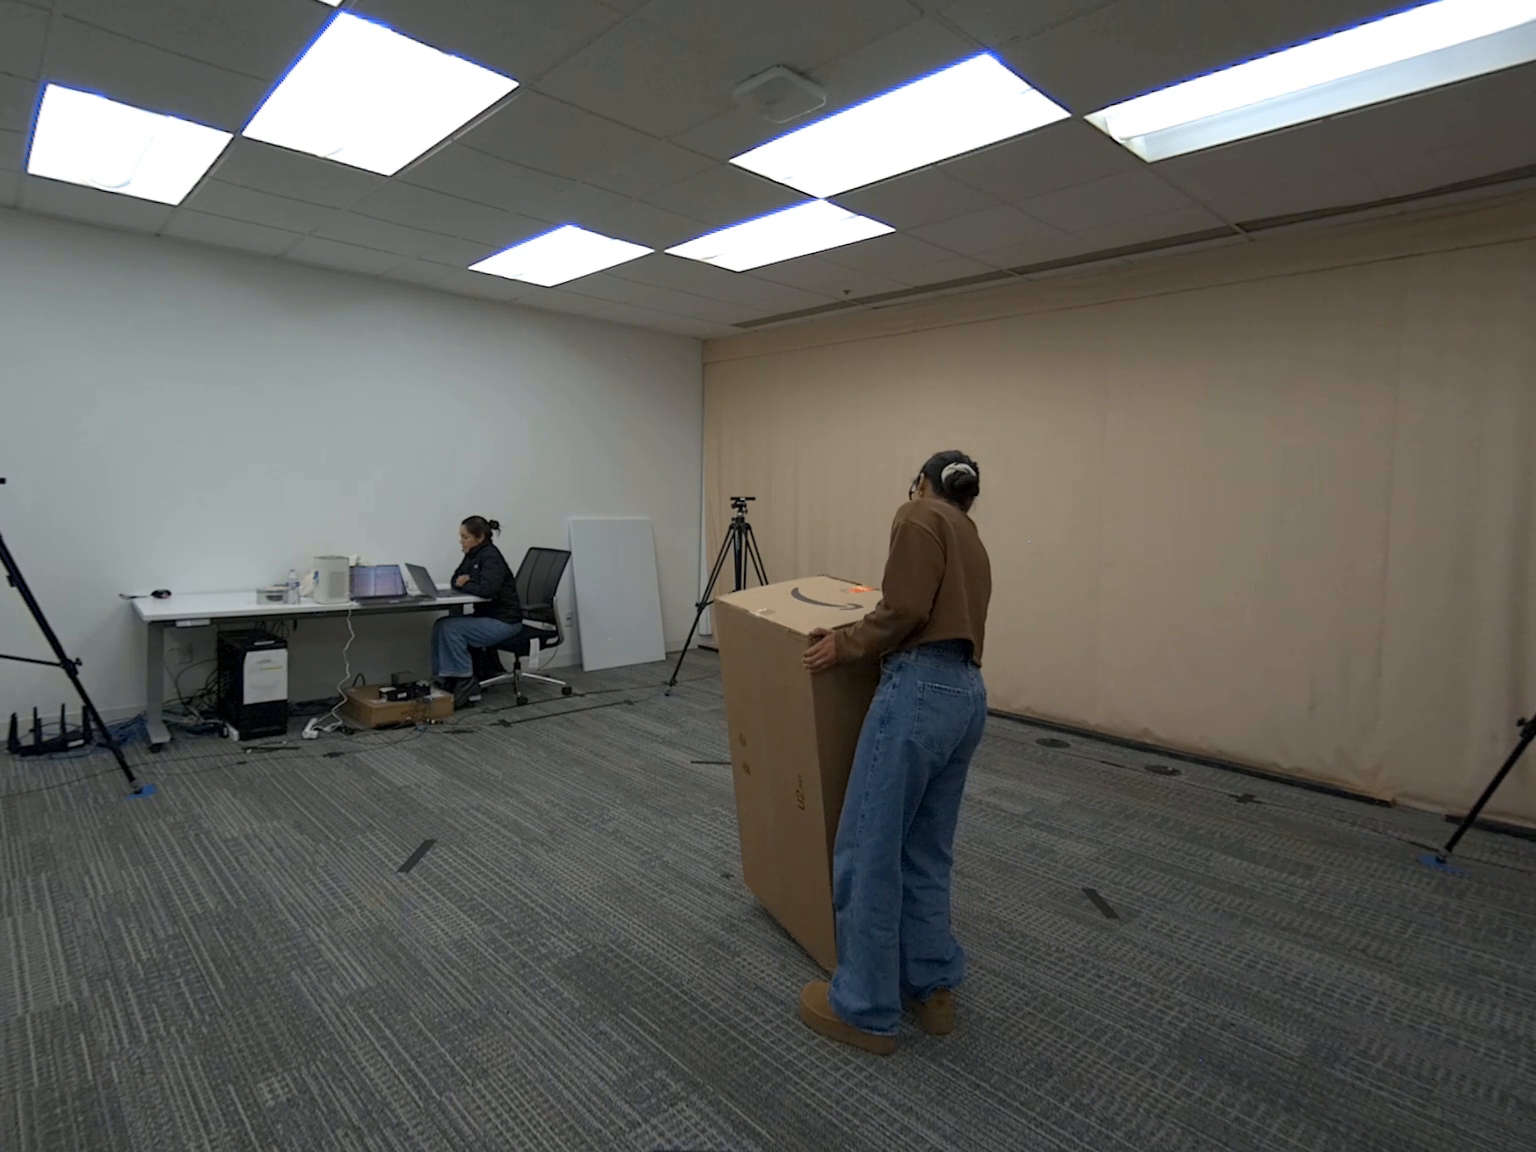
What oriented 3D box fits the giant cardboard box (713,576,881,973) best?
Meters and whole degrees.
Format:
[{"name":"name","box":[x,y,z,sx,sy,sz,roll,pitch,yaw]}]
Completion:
[{"name":"giant cardboard box","box":[0.187,0.578,2.643,0.420,1.017,0.591,-11,11,-27]}]
